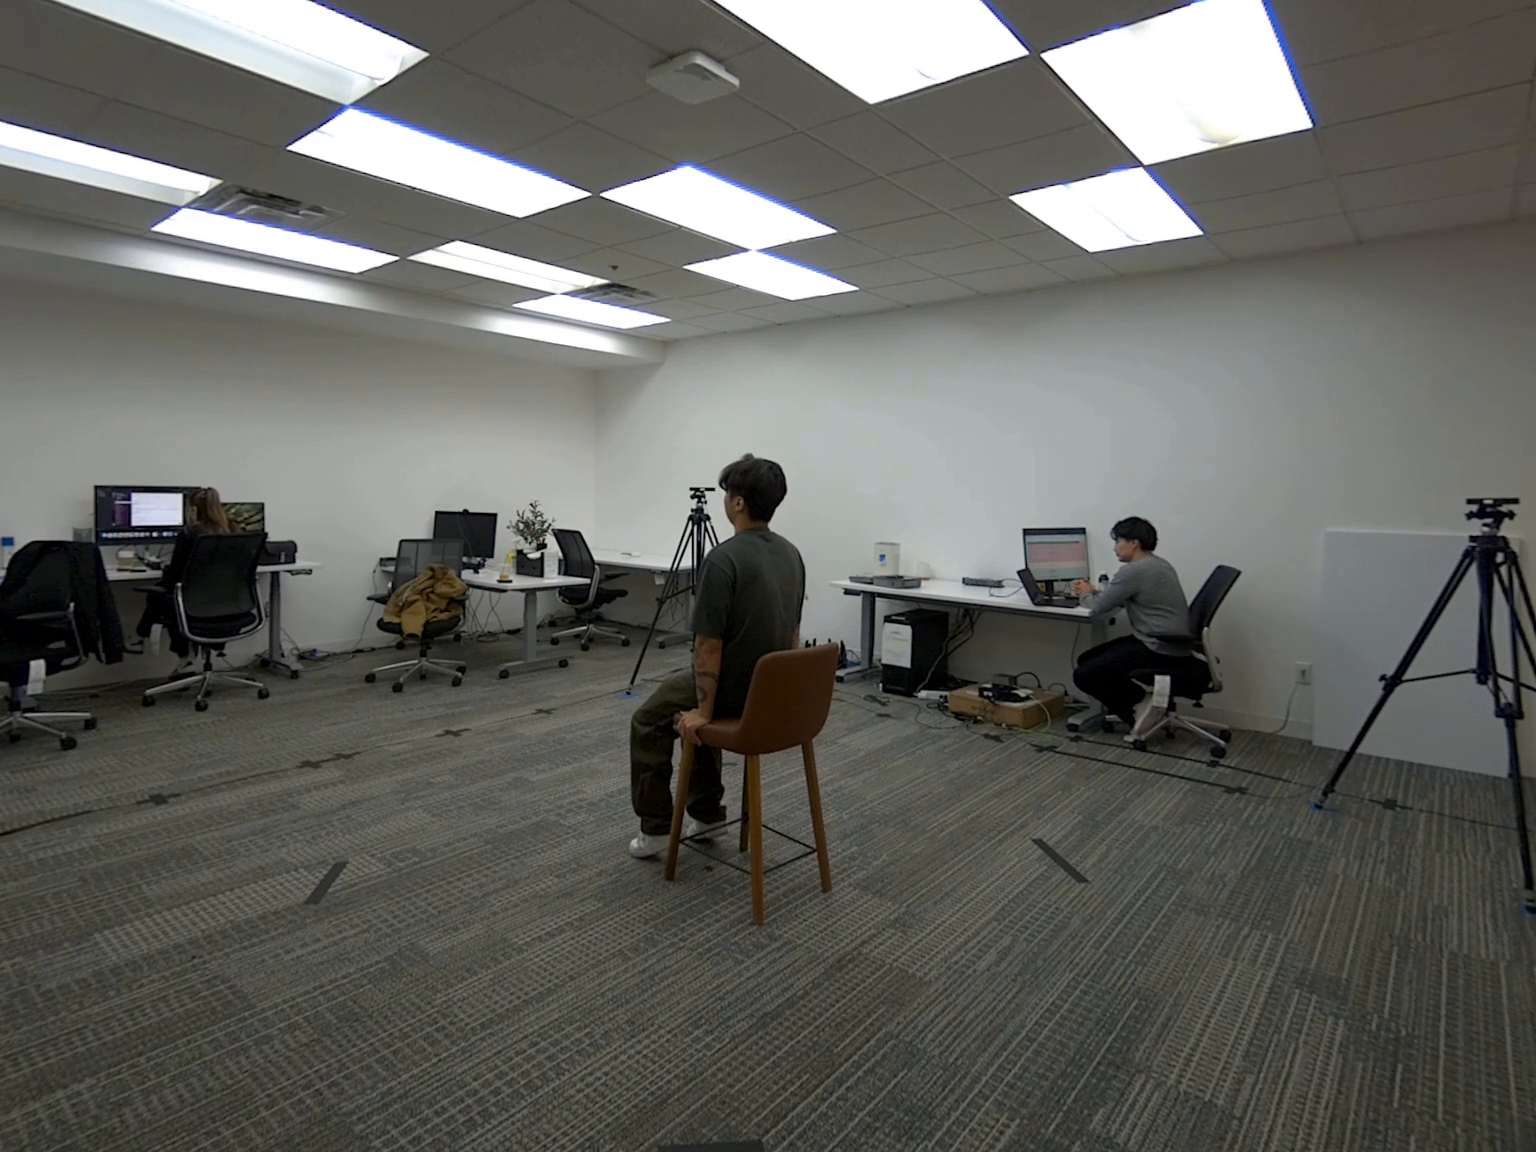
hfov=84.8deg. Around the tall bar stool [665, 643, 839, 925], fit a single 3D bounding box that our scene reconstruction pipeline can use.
[{"bbox_3d":[-0.054,0.648,2.959,0.484,0.886,0.442,7,6,44],"label":"tall bar stool"}]
